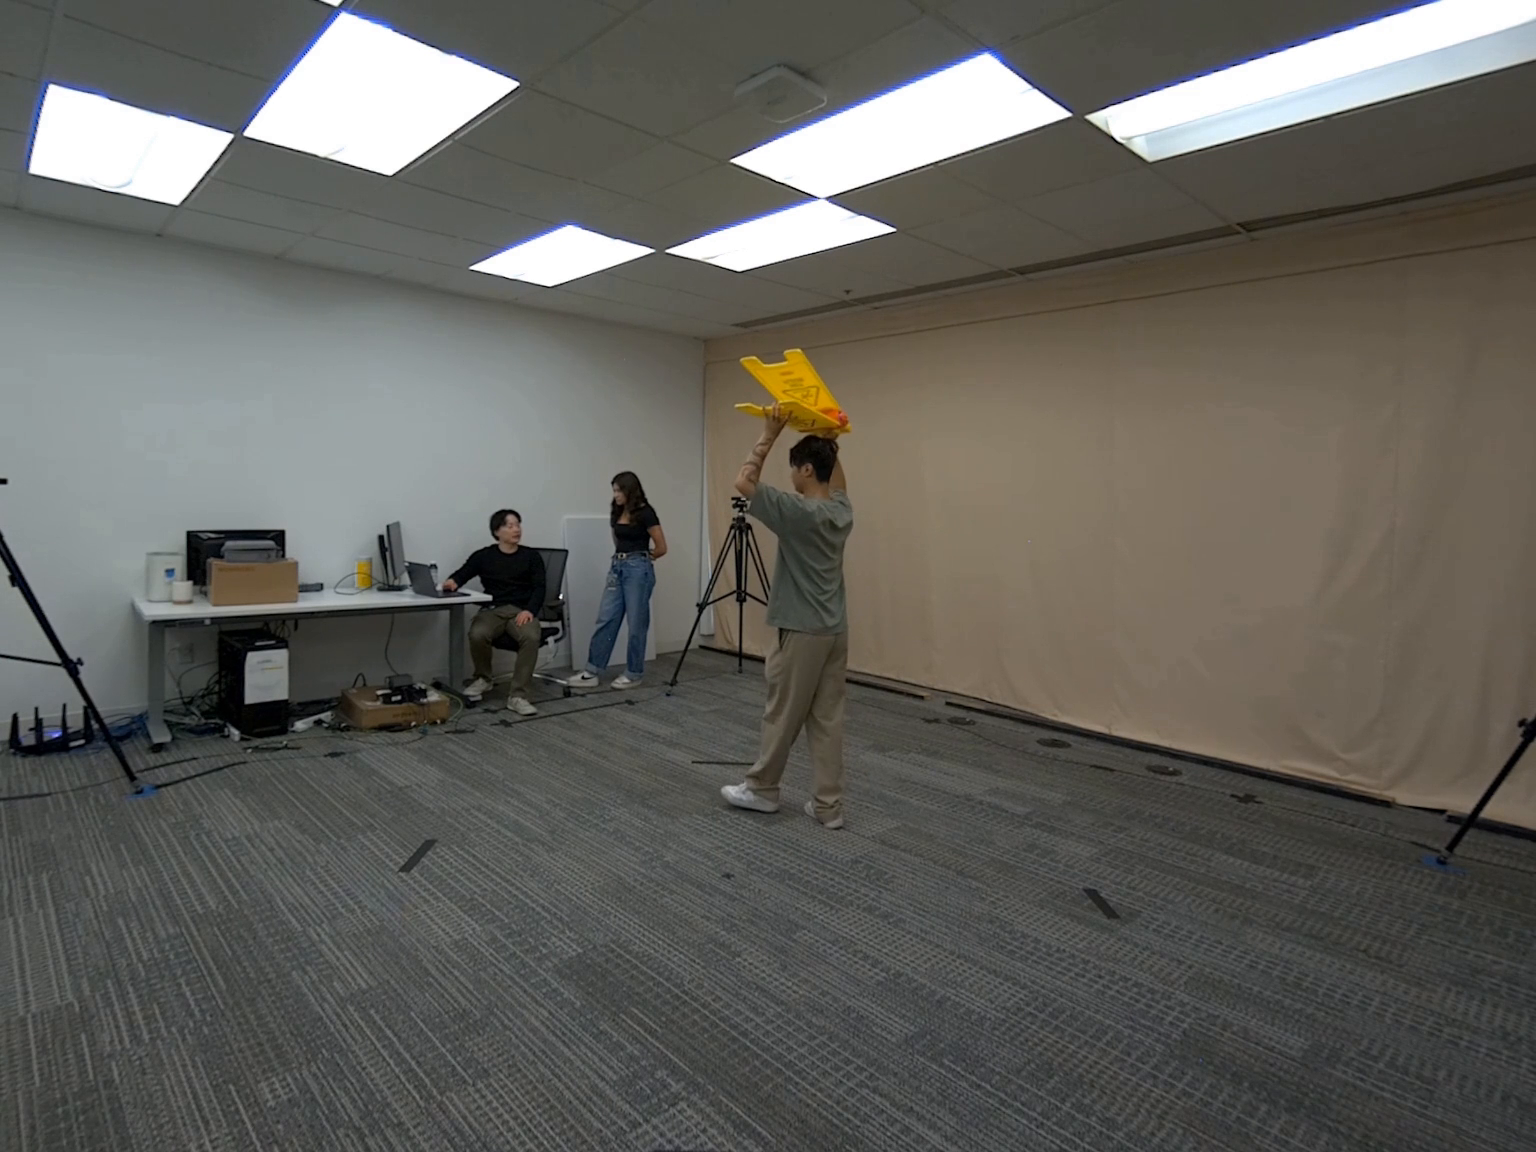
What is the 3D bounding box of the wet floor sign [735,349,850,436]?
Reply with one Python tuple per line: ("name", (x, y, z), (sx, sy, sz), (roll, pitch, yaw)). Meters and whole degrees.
("wet floor sign", (0.138, -0.730, 3.662), (0.288, 0.291, 0.629), (0, -10, 29))
